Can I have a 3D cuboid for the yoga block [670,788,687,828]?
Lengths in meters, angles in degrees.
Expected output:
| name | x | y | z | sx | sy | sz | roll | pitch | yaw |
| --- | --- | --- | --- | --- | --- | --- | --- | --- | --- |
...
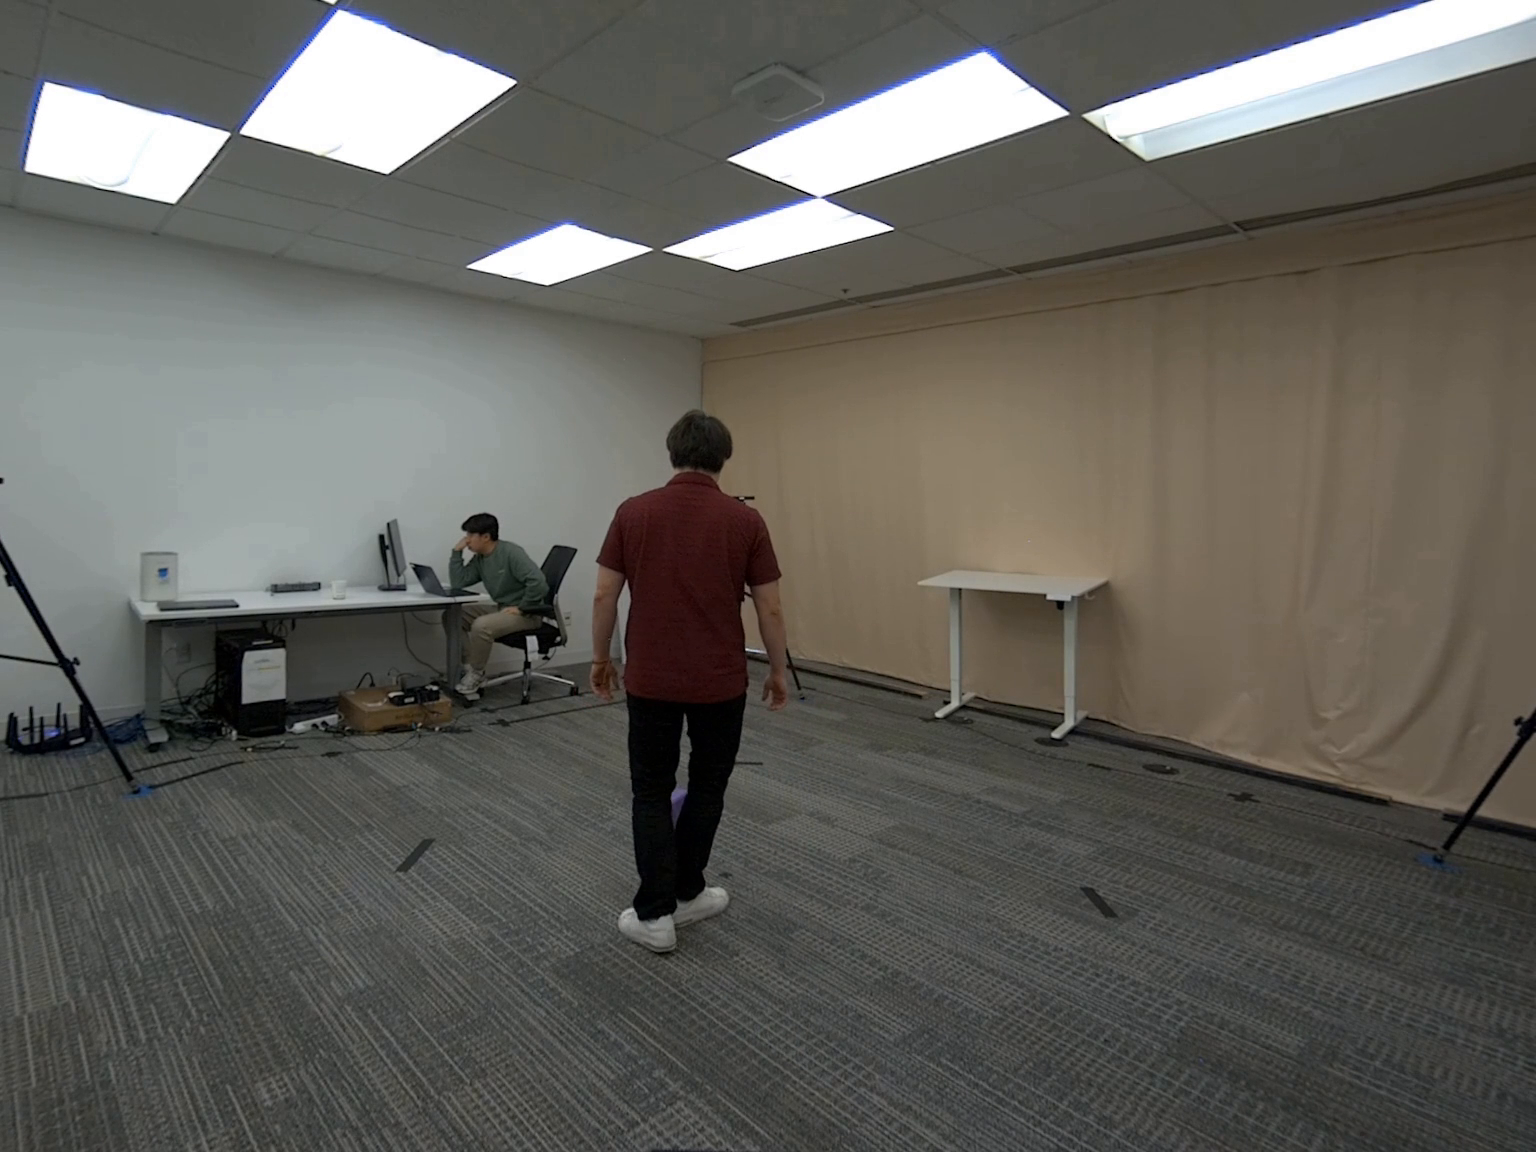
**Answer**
| name | x | y | z | sx | sy | sz | roll | pitch | yaw |
| --- | --- | --- | --- | --- | --- | --- | --- | --- | --- |
| yoga block | -0.414 | 0.992 | 3.488 | 0.078 | 0.149 | 0.226 | 1 | 3 | 21 |
